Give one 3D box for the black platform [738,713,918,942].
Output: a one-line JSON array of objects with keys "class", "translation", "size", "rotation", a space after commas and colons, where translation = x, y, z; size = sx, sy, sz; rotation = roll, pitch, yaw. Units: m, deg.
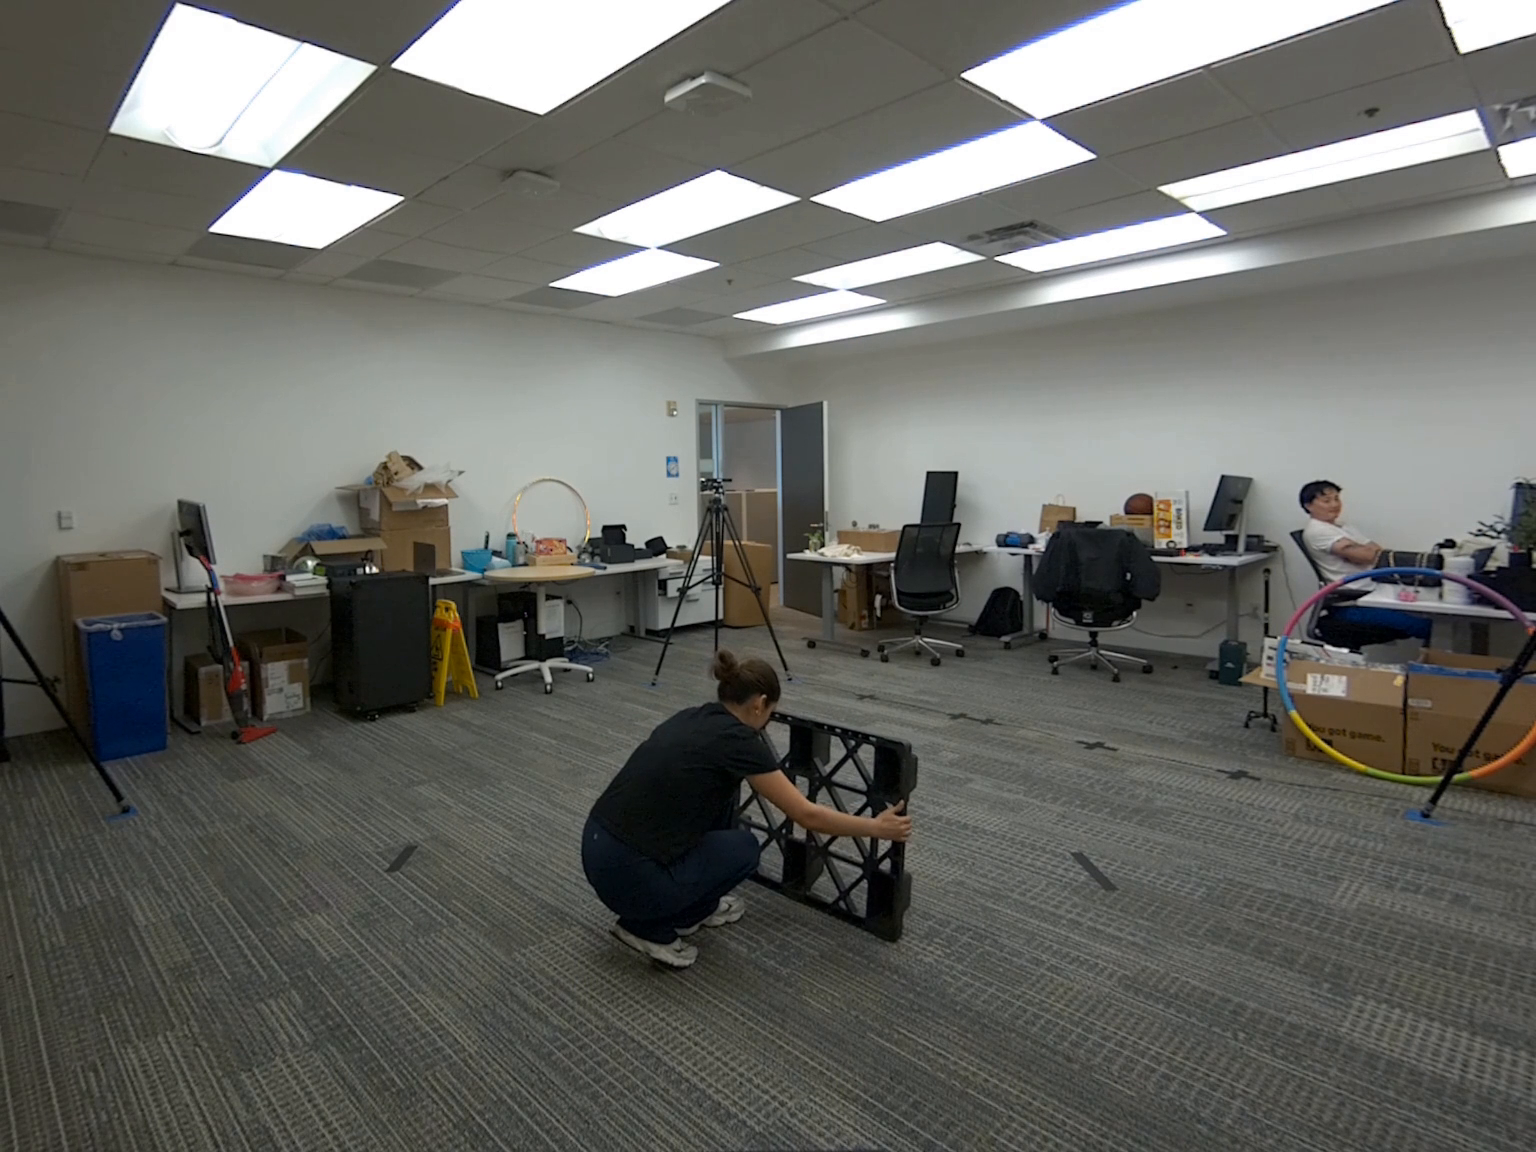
[{"class": "black platform", "translation": [0.141, 0.773, 2.890], "size": [0.831, 0.605, 0.139], "rotation": [5, 1, 43]}]
